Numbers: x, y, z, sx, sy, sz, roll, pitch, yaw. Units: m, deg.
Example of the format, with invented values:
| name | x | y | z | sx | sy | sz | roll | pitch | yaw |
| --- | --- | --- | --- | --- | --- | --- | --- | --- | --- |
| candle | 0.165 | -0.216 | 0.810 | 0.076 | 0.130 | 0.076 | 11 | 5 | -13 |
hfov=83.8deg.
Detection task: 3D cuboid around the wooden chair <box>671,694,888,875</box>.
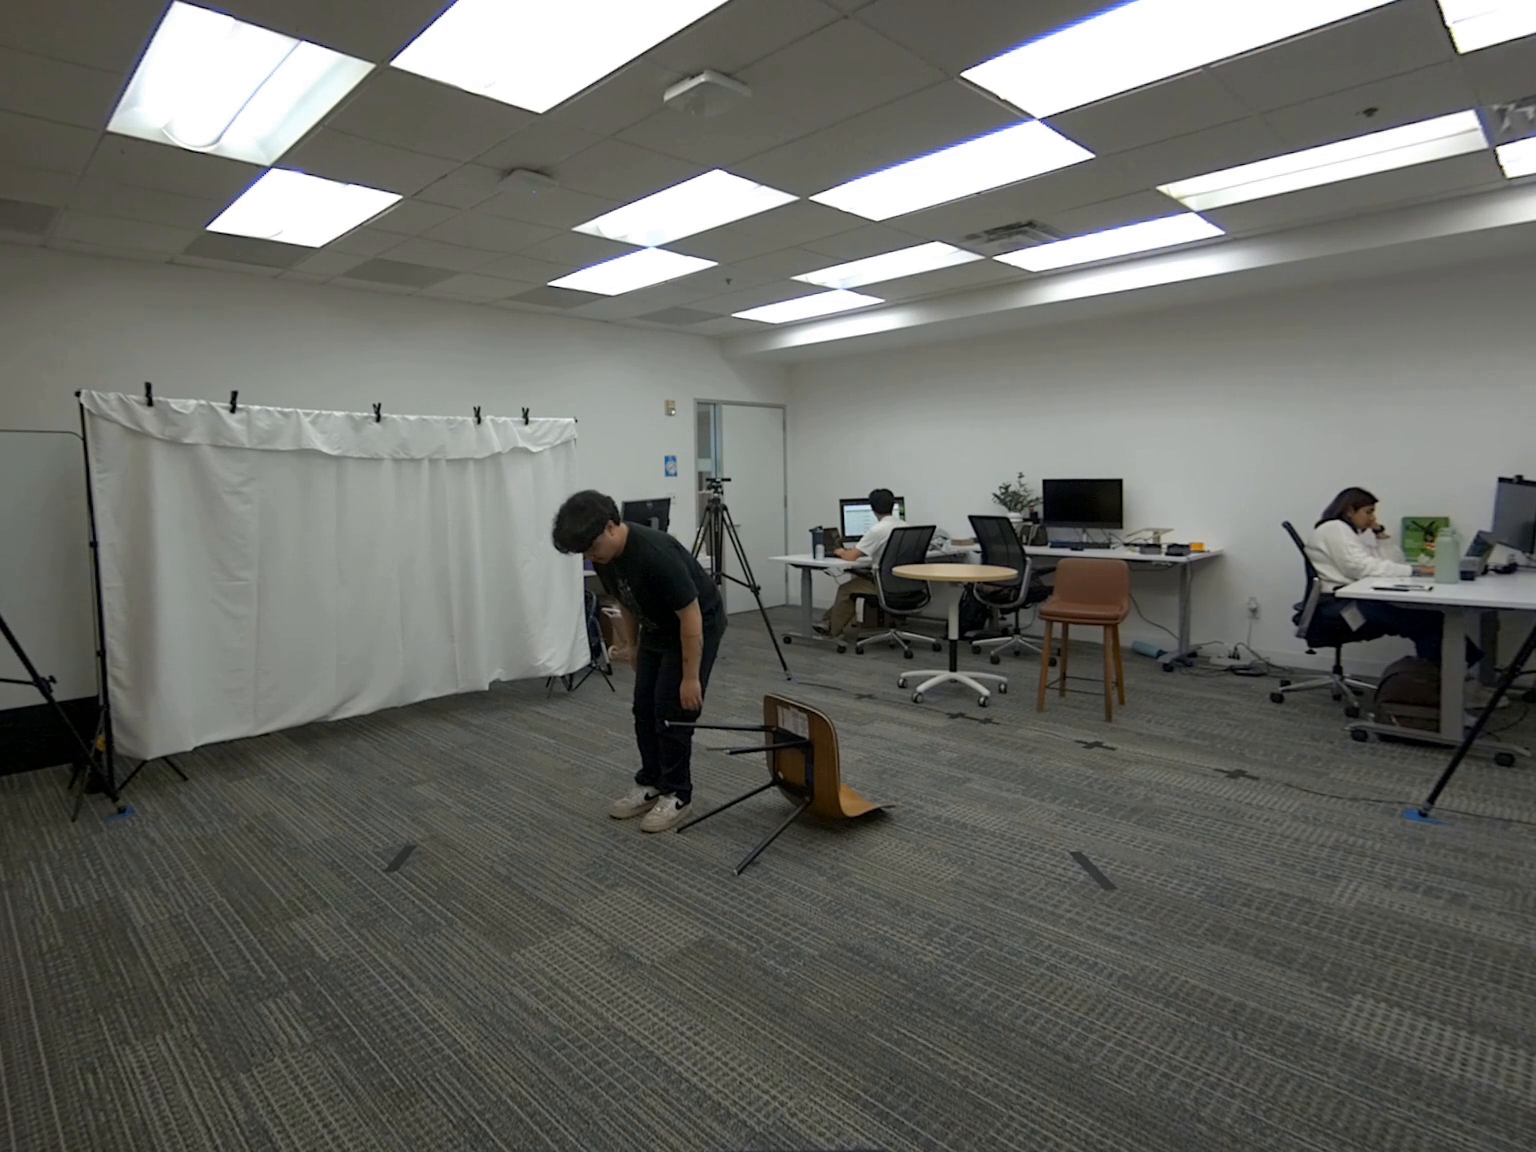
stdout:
| name | x | y | z | sx | sy | sz | roll | pitch | yaw |
| --- | --- | --- | --- | --- | --- | --- | --- | --- | --- |
| wooden chair | 0.093 | 0.753 | 3.392 | 0.856 | 0.521 | 0.492 | -4 | 5 | -33 |
